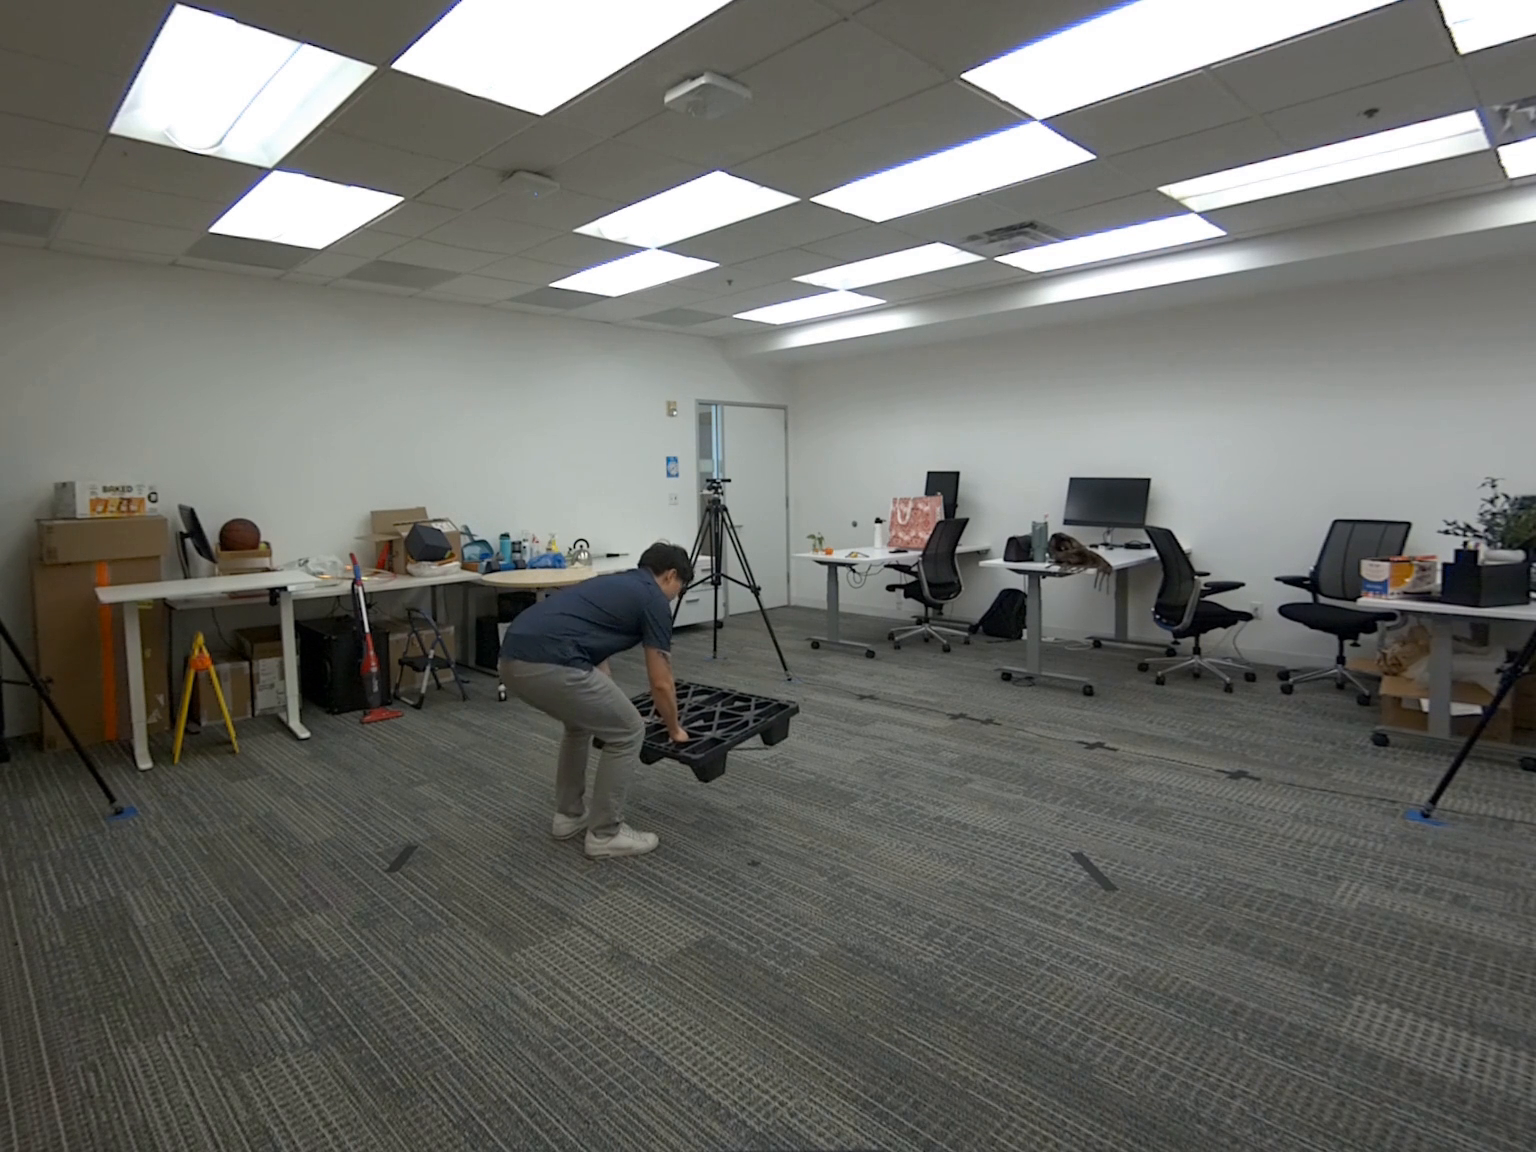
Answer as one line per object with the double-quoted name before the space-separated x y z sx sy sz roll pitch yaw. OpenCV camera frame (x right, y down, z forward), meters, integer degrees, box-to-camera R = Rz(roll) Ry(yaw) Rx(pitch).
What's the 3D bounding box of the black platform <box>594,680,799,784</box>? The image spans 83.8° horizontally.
"black platform" -0.346 0.645 3.627 0.830 0.142 0.593 4 16 45
